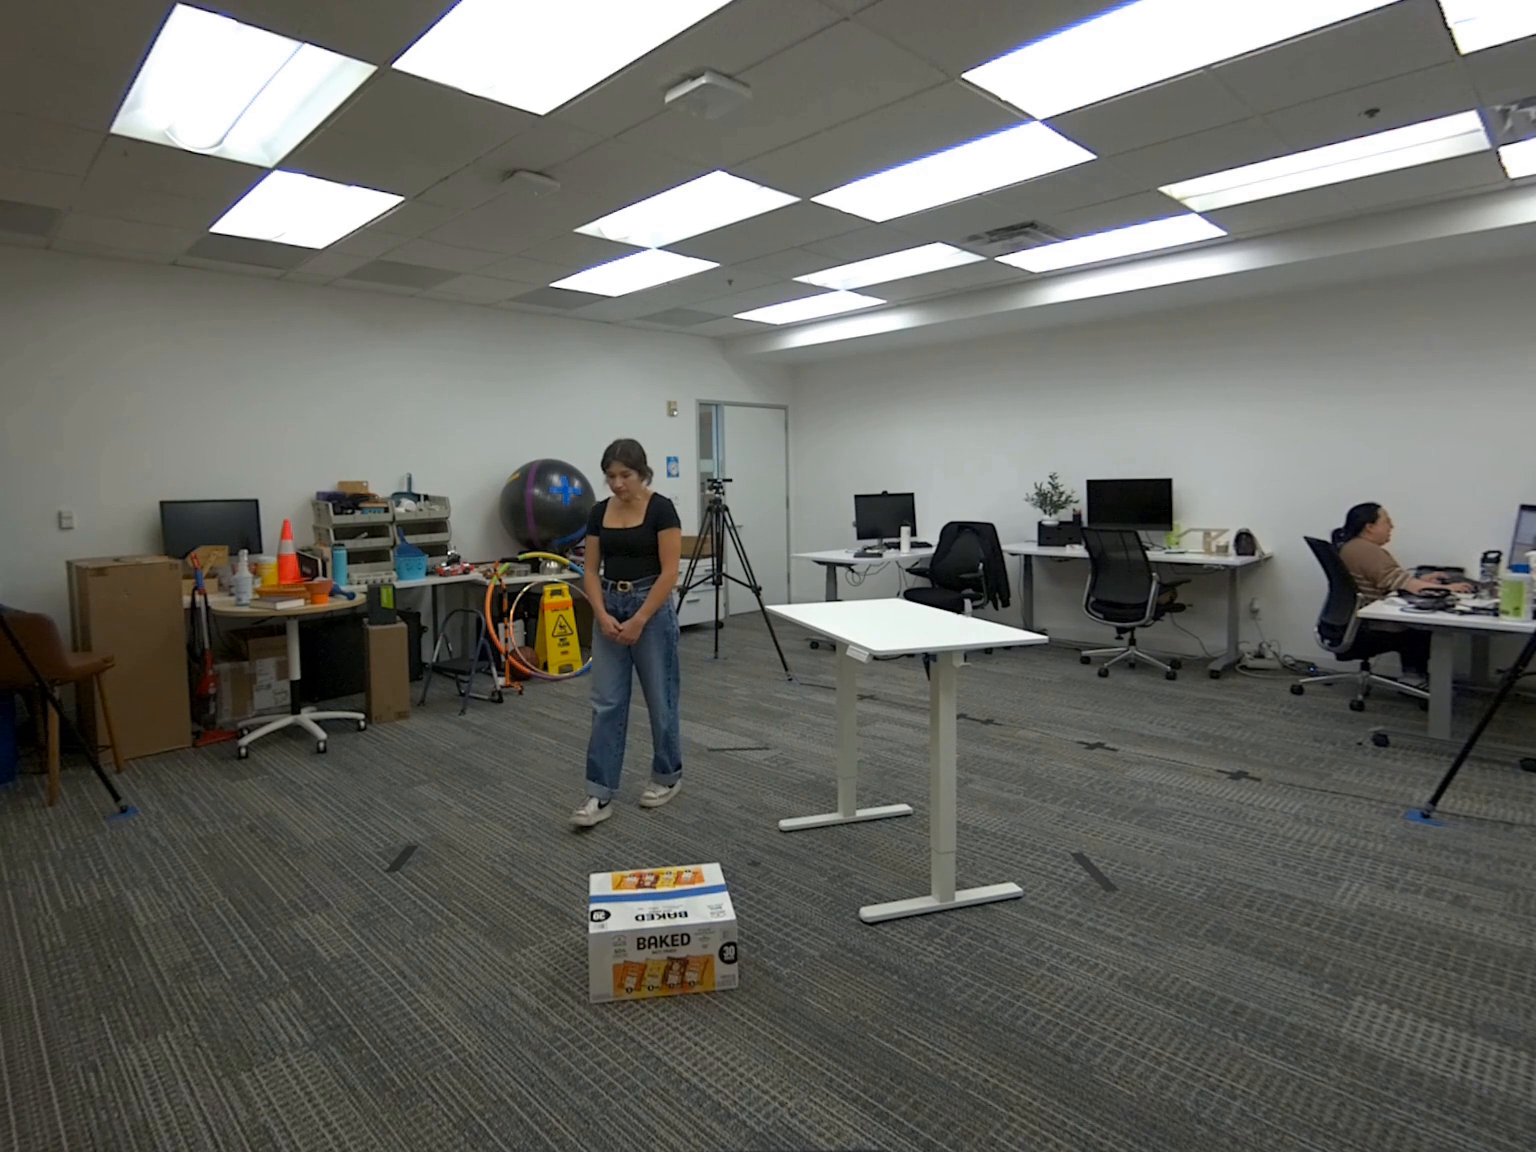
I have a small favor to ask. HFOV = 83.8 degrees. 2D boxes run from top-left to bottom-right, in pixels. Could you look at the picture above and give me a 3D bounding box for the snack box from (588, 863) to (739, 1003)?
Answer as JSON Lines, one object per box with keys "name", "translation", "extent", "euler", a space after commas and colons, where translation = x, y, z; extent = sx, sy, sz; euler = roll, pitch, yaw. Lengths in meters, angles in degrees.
{"name": "snack box", "translation": [-0.306, 1.024, 2.469], "extent": [0.402, 0.205, 0.345], "euler": [-2, 6, -9]}
